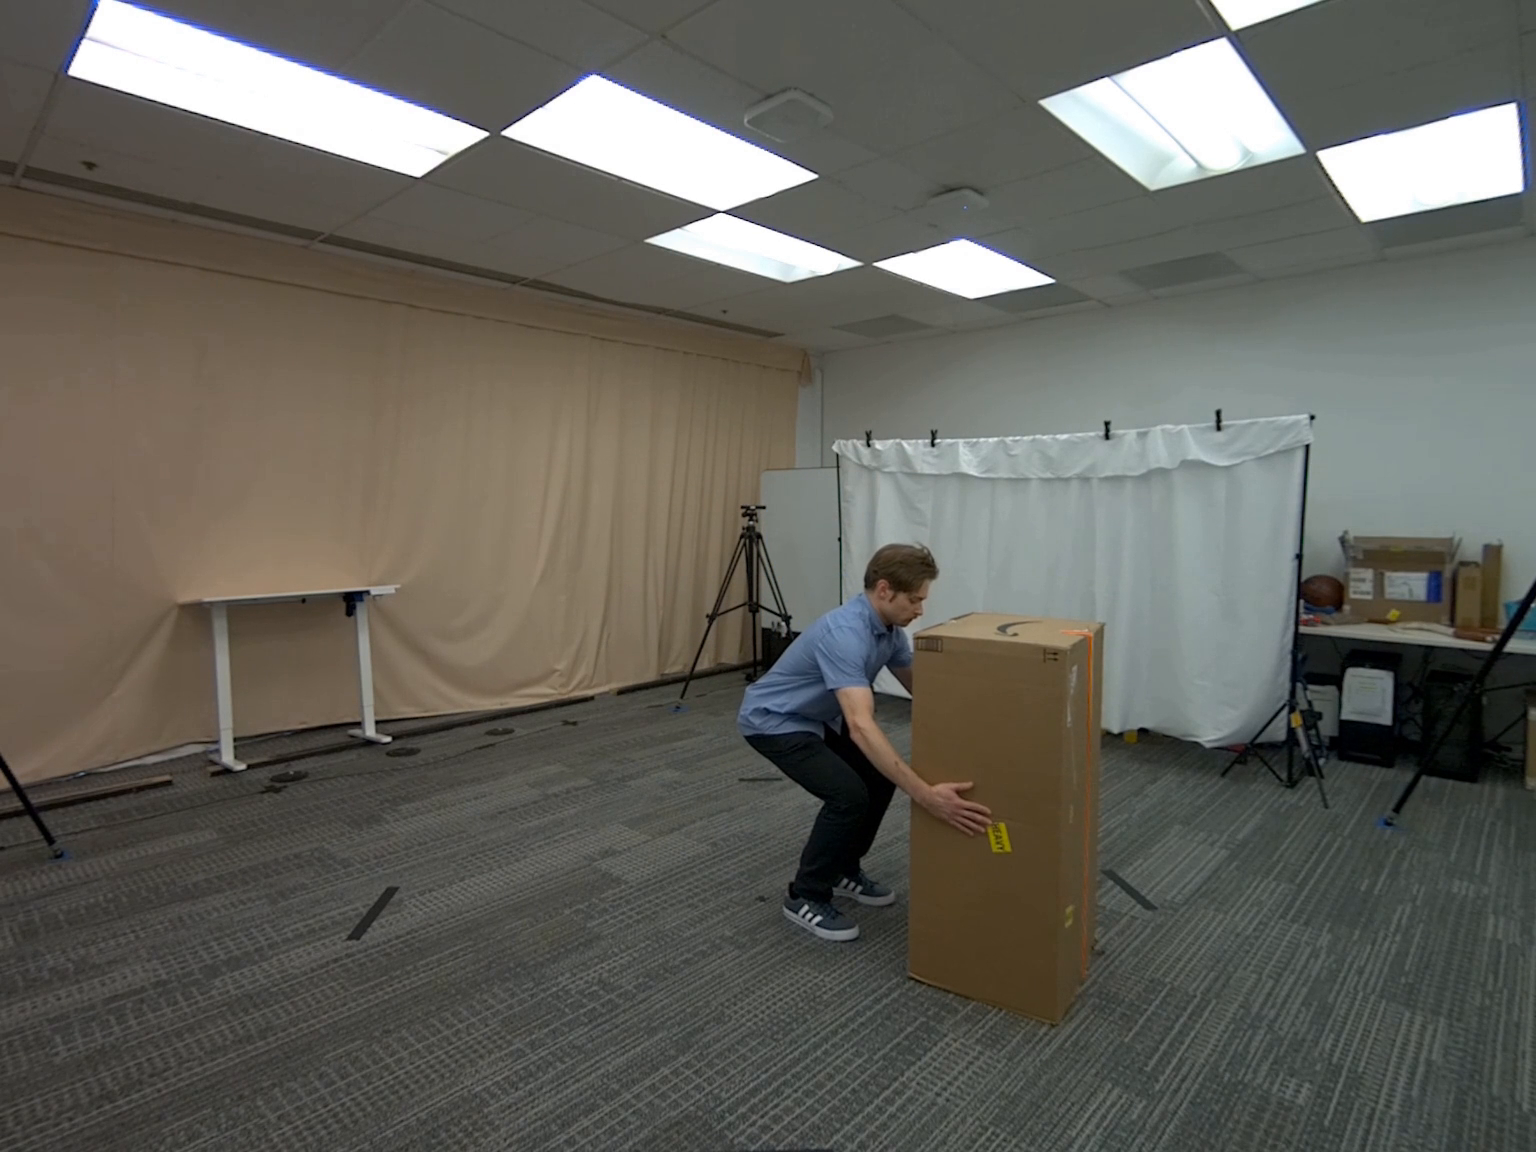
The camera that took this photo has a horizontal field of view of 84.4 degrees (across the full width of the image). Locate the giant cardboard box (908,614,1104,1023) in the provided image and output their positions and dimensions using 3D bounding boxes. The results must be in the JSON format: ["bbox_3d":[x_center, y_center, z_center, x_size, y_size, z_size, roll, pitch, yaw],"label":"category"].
[{"bbox_3d":[0.751,0.667,2.566,0.439,1.023,0.561,3,4,33],"label":"giant cardboard box"}]
